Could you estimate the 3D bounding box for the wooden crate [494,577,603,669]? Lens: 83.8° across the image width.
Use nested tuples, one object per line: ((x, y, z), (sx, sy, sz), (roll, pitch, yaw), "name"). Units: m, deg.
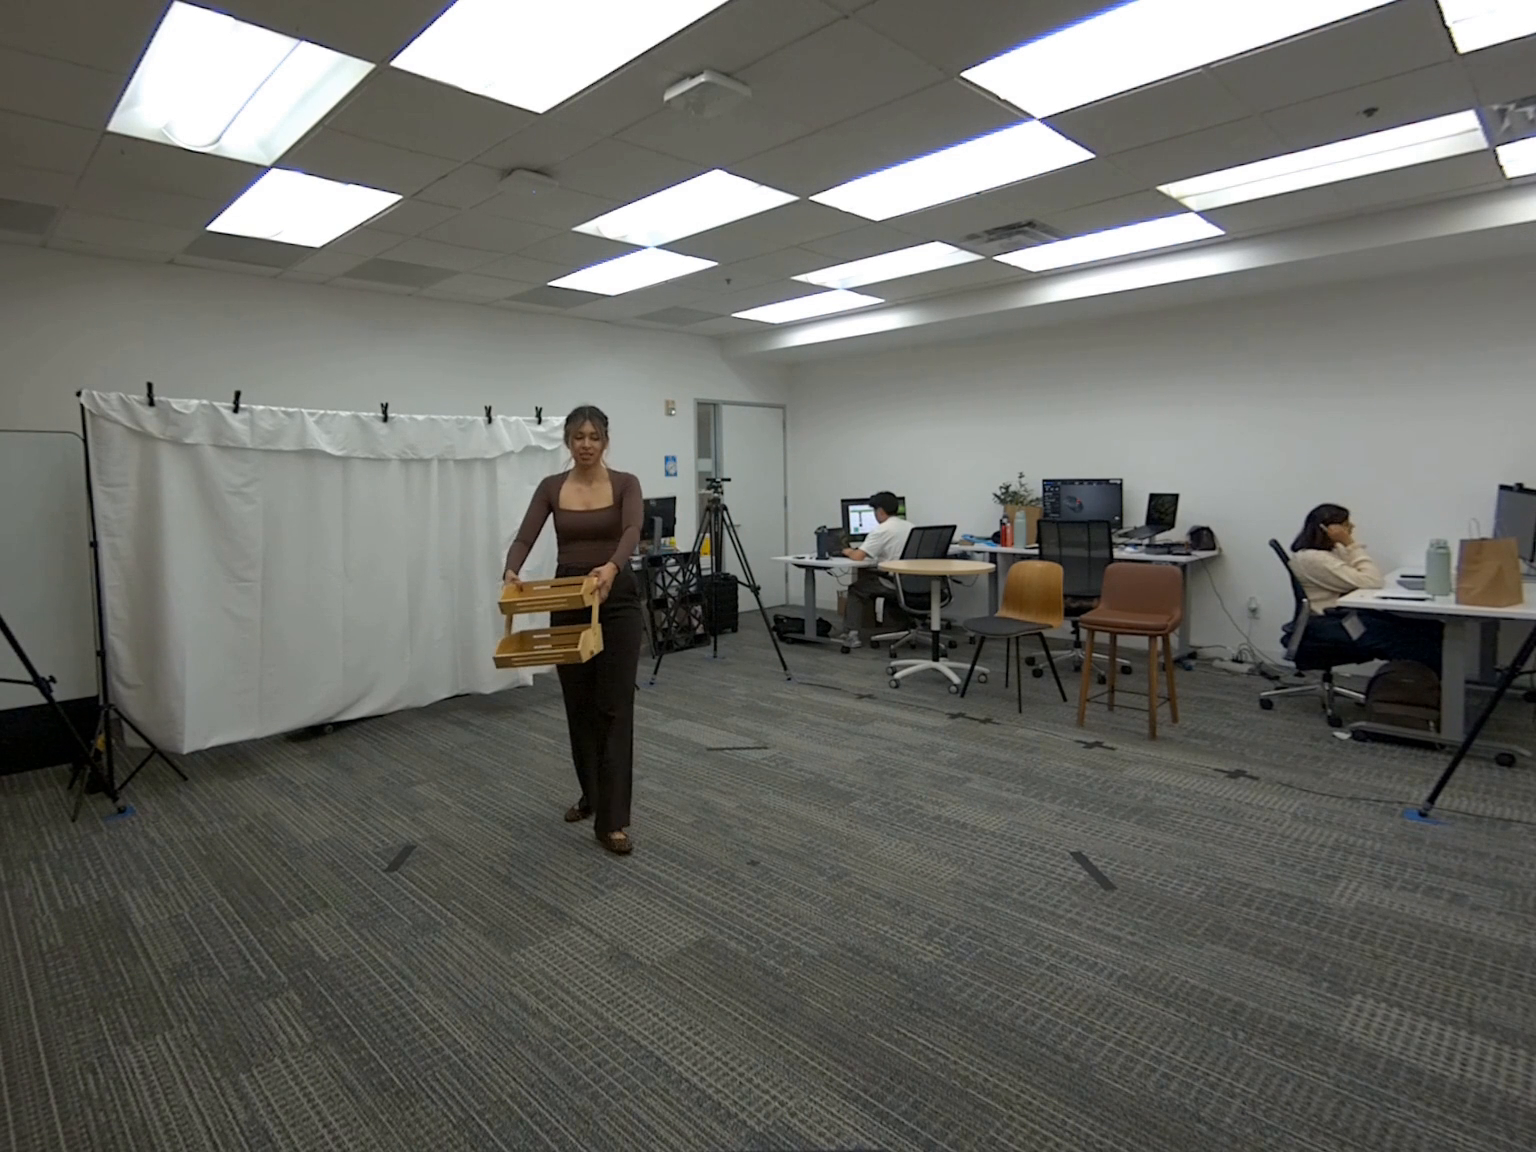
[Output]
((-0.757, 0.148, 2.925), (0.326, 0.273, 0.301), (-4, 3, 6), "wooden crate")
